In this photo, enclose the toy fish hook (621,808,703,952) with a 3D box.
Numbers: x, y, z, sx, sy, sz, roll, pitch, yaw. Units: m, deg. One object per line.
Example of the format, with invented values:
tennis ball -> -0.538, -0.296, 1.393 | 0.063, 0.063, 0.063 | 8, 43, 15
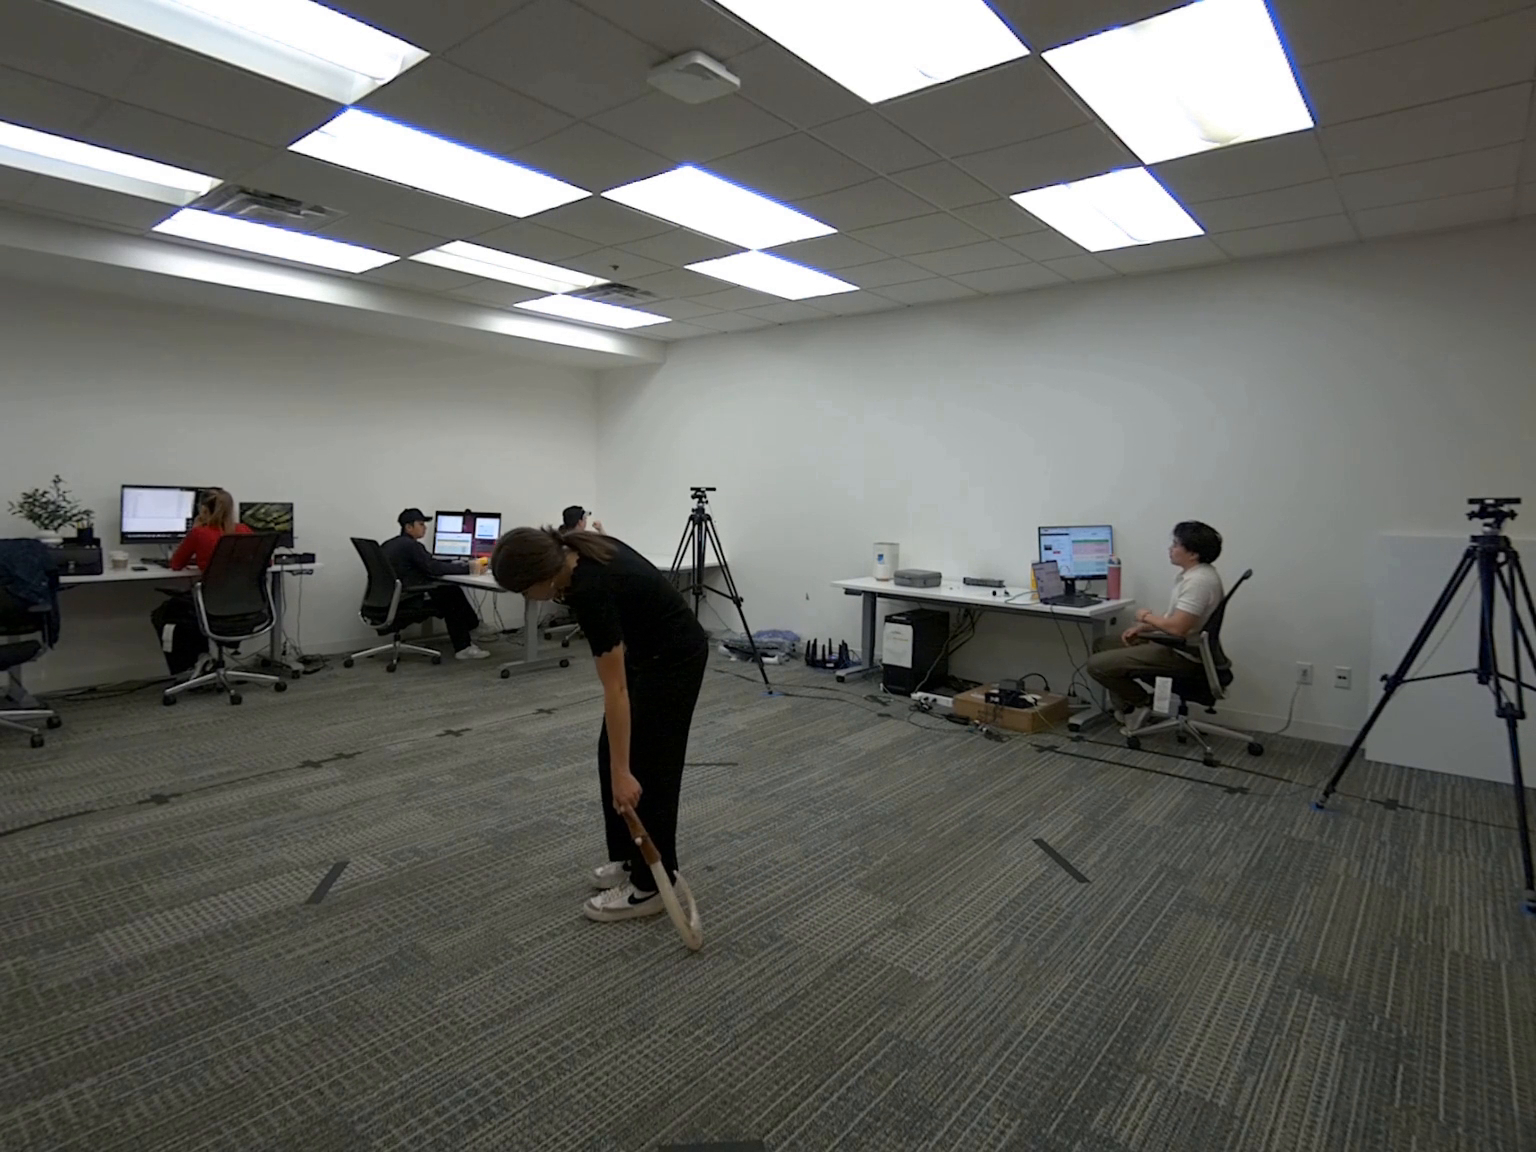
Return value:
toy fish hook -> -0.325, 0.889, 2.586 | 0.048, 0.503, 0.226 | -24, 6, 1
